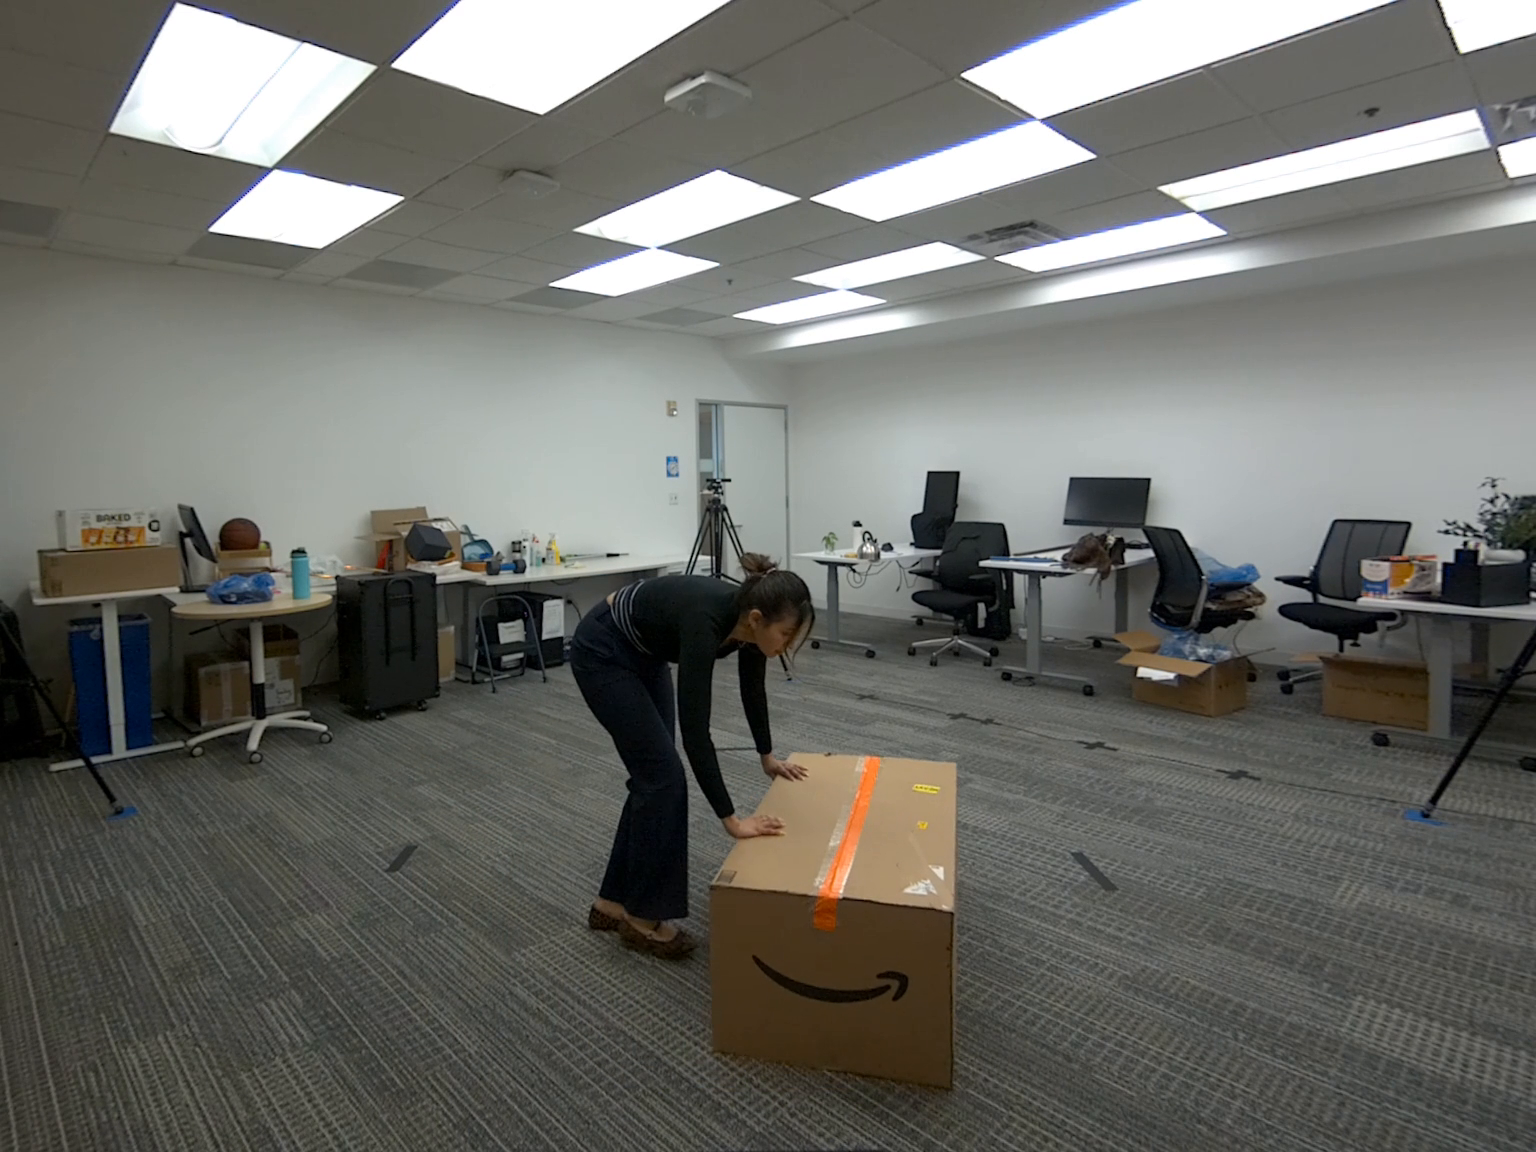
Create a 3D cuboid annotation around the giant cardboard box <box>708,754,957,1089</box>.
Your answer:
[{"bbox_3d":[0.255,0.897,2.491,0.586,0.424,1.016,-1,6,14],"label":"giant cardboard box"}]
